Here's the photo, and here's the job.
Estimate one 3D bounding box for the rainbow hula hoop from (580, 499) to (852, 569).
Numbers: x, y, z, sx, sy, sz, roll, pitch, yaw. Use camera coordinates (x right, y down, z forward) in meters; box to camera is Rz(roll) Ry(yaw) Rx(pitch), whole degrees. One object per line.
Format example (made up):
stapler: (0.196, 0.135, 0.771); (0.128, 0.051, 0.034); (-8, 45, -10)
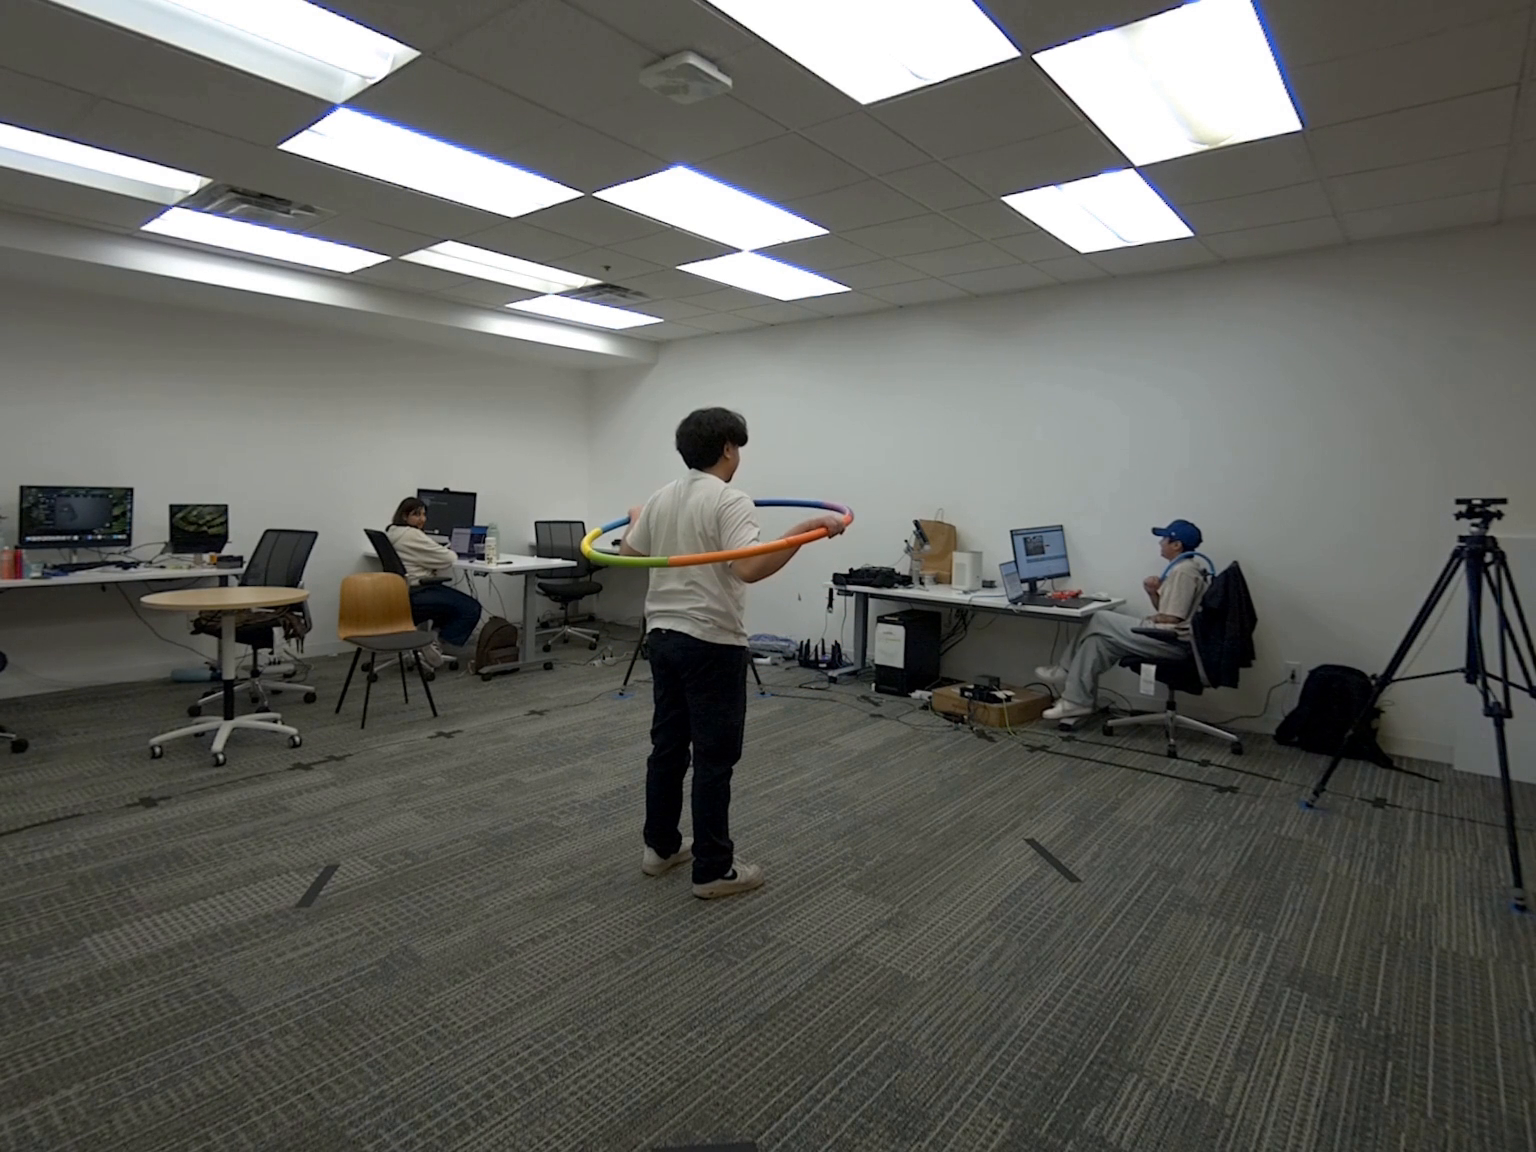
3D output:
rainbow hula hoop: (-0.198, -0.173, 3.080); (0.986, 0.051, 0.999); (-7, 15, 0)
